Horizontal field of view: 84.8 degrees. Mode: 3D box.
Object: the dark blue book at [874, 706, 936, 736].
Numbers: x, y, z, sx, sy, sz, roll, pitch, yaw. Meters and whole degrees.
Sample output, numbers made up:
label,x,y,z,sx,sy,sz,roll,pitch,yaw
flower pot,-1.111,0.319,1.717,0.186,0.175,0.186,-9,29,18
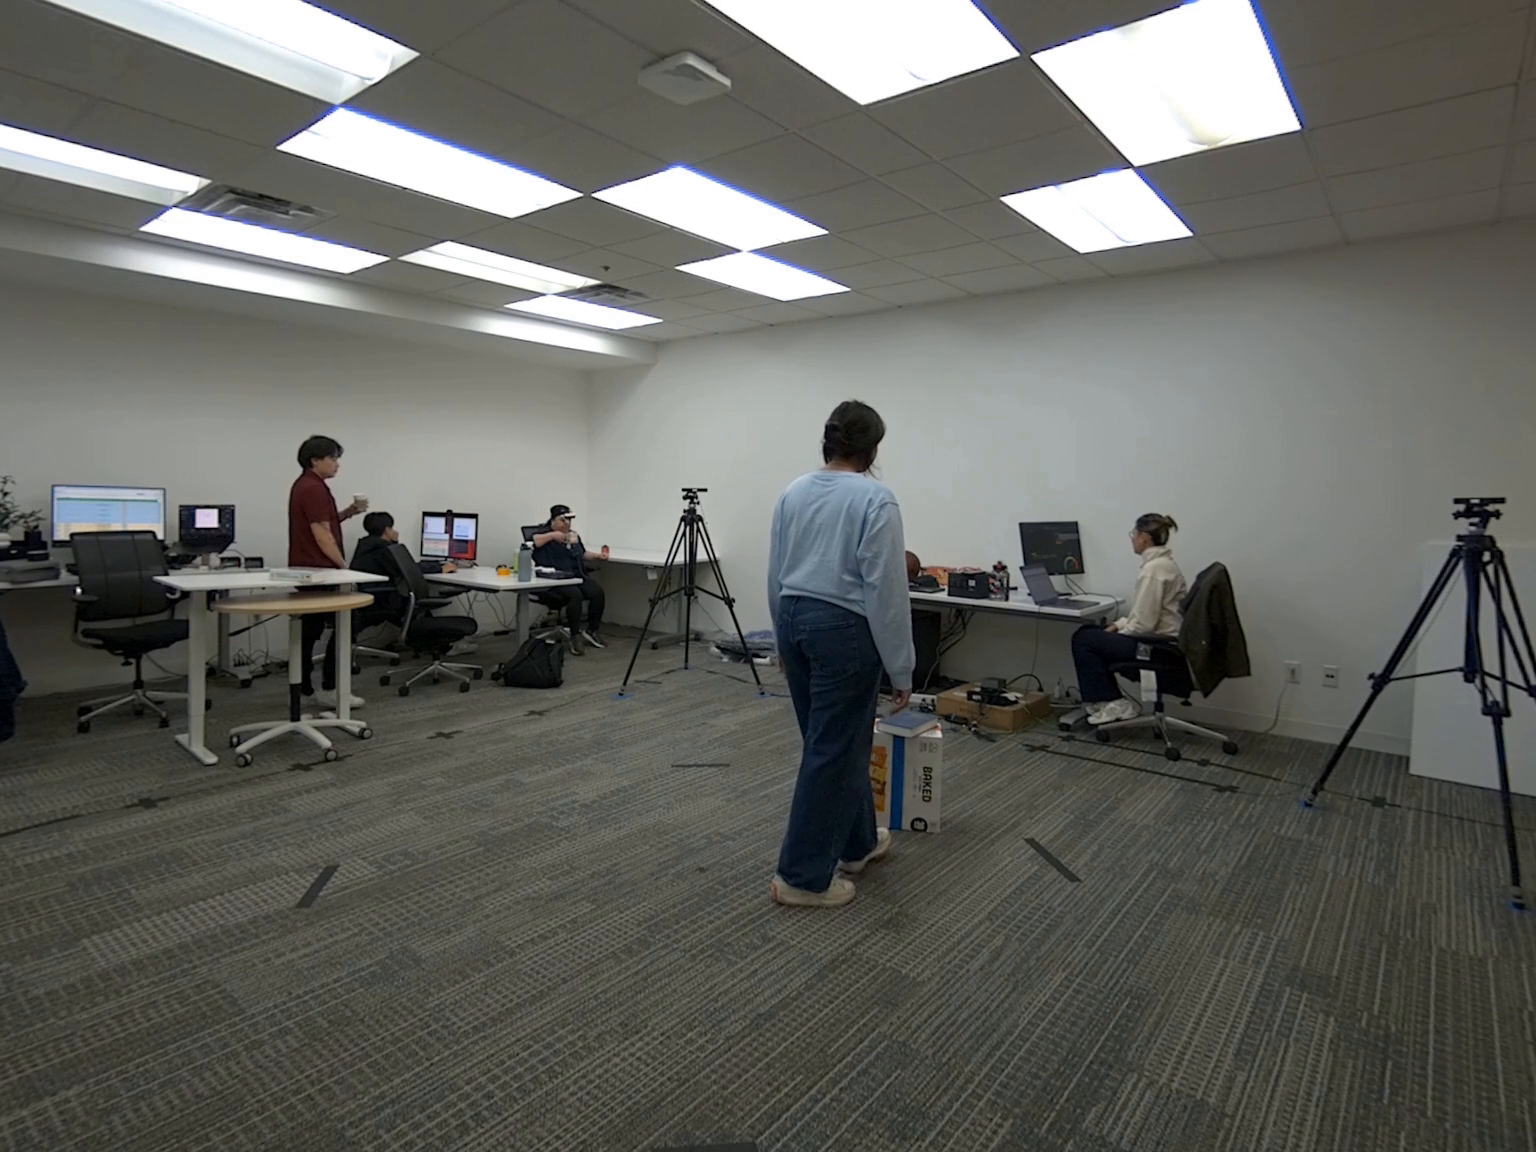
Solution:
label,x,y,z,sx,sy,sz,roll,pitch,yaw
dark blue book,0.581,0.610,3.573,0.169,0.045,0.238,6,8,38
